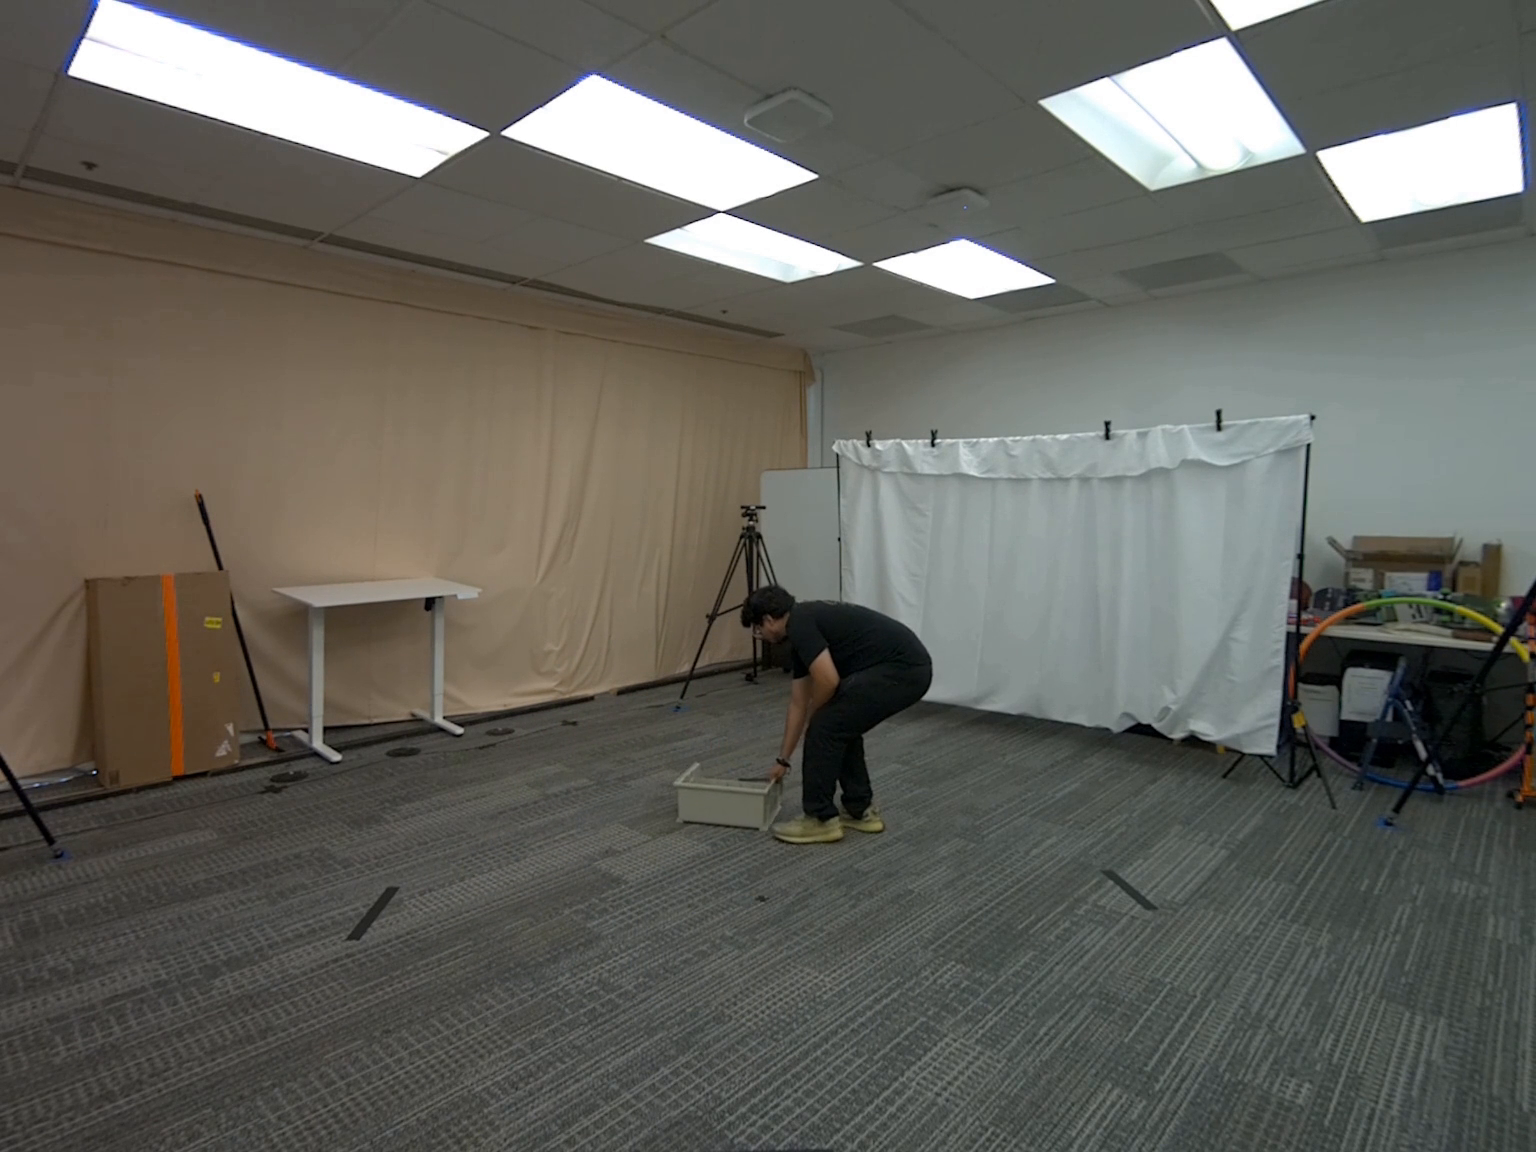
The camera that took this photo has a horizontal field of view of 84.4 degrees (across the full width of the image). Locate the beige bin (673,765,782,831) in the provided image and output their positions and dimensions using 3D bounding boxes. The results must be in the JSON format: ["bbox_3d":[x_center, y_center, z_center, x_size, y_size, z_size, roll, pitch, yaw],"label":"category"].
[{"bbox_3d":[-0.173,0.987,3.818,0.429,0.188,0.372,1,5,14],"label":"beige bin"}]
